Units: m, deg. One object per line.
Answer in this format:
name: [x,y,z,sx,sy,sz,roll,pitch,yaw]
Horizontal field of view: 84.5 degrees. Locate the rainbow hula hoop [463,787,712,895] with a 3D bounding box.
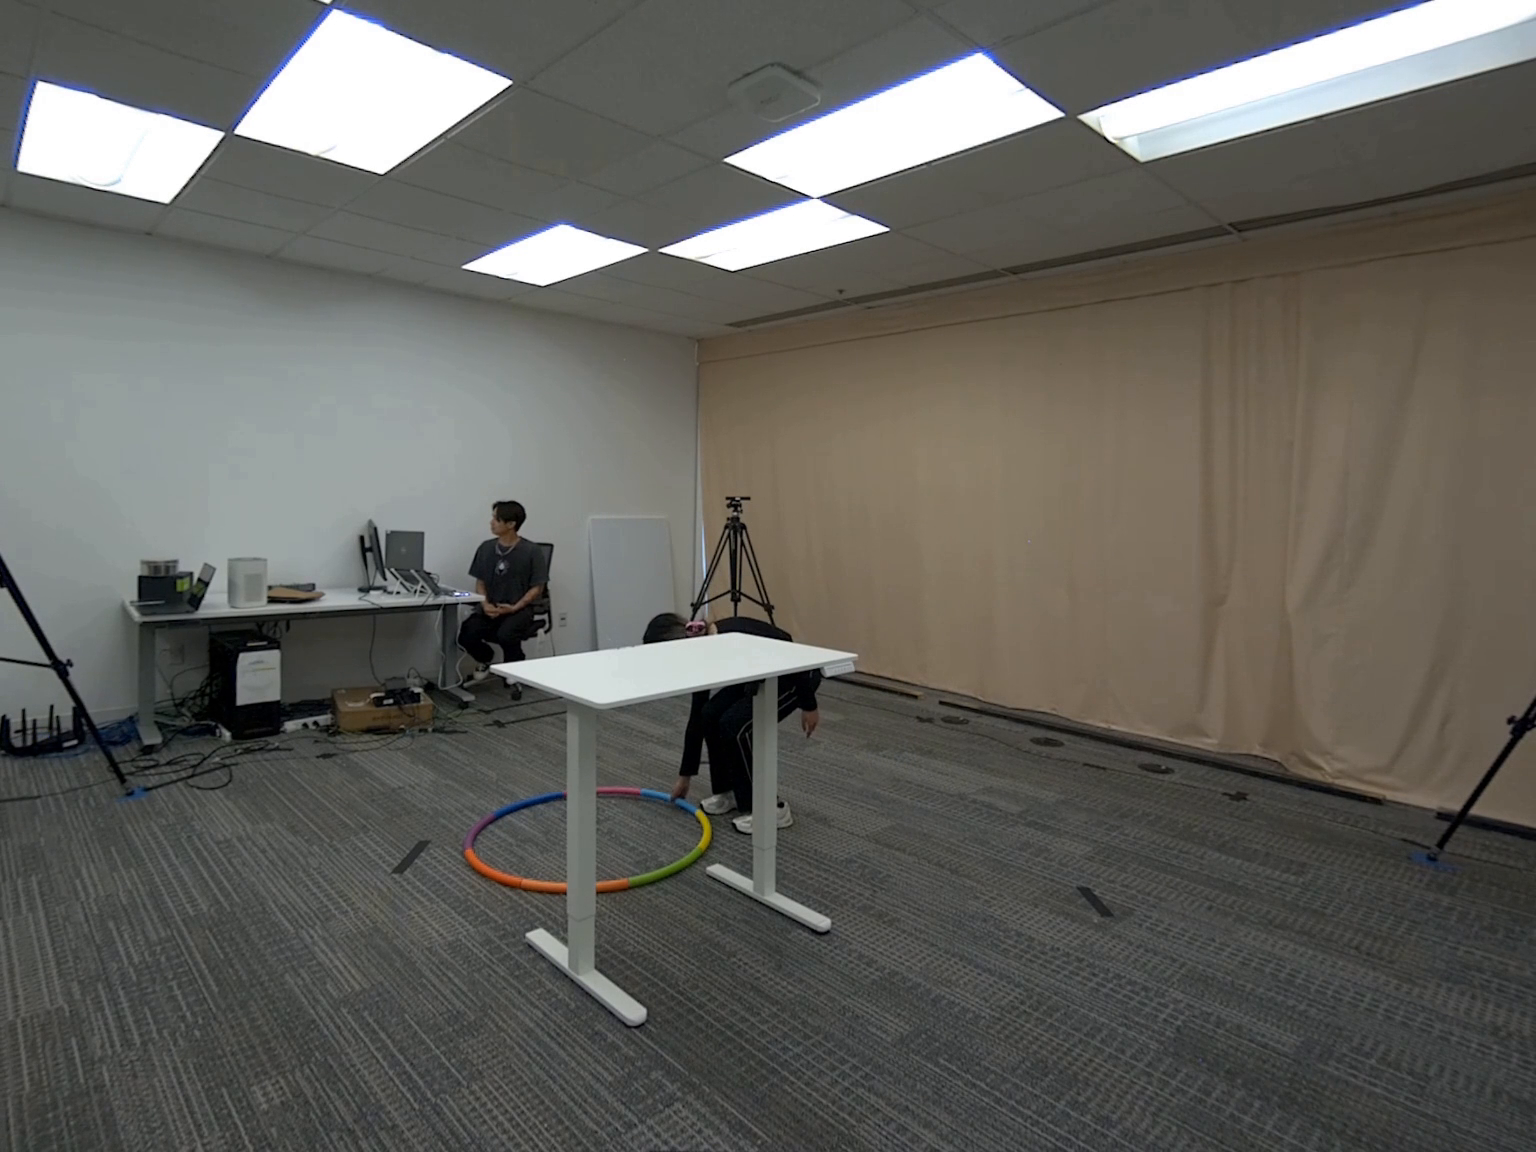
rainbow hula hoop: [-0.721,1.031,3.410,0.978,0.035,0.983,0,6,-1]
